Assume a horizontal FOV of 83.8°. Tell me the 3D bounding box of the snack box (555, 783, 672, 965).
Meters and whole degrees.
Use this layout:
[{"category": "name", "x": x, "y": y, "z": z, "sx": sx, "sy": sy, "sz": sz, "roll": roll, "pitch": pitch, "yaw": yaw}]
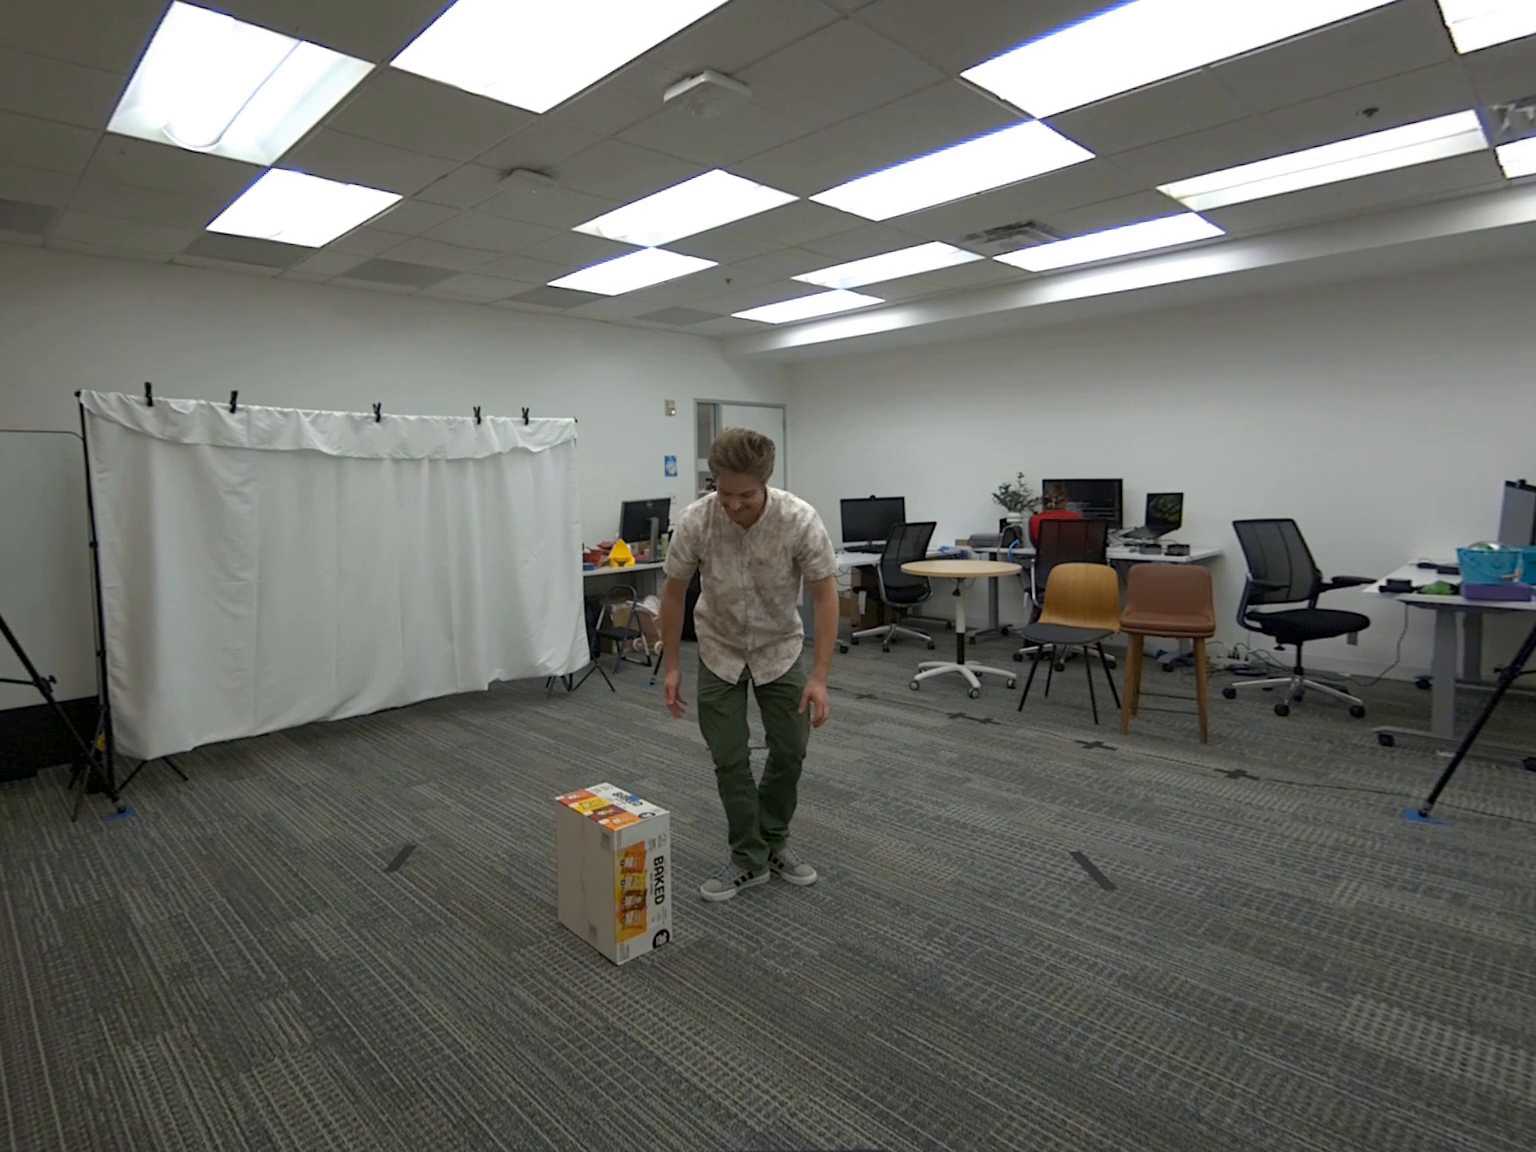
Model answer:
[{"category": "snack box", "x": -0.481, "y": 0.905, "z": 2.636, "sx": 0.200, "sy": 0.403, "sz": 0.351, "roll": -5, "pitch": 6, "yaw": -42}]
